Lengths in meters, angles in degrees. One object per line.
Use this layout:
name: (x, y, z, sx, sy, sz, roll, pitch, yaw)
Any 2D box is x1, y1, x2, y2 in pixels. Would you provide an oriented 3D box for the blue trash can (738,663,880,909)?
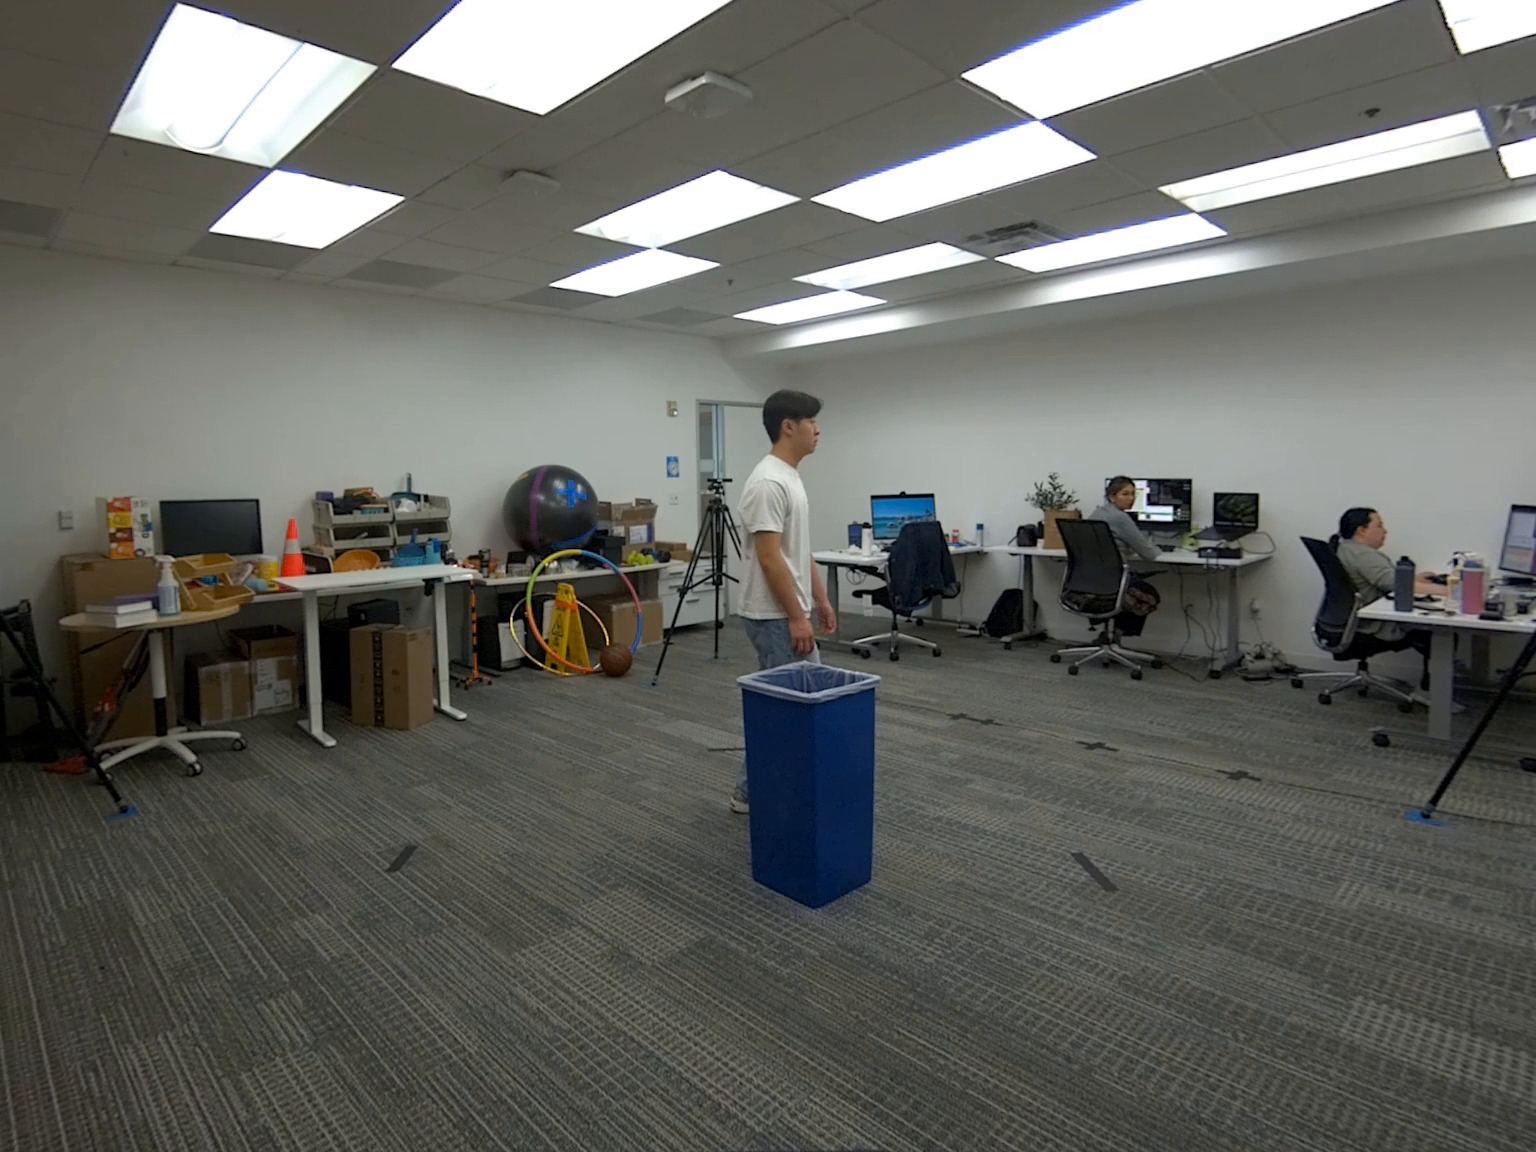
blue trash can: (0.143, 0.703, 2.940, 0.364, 0.711, 0.389, -4, 5, -44)
